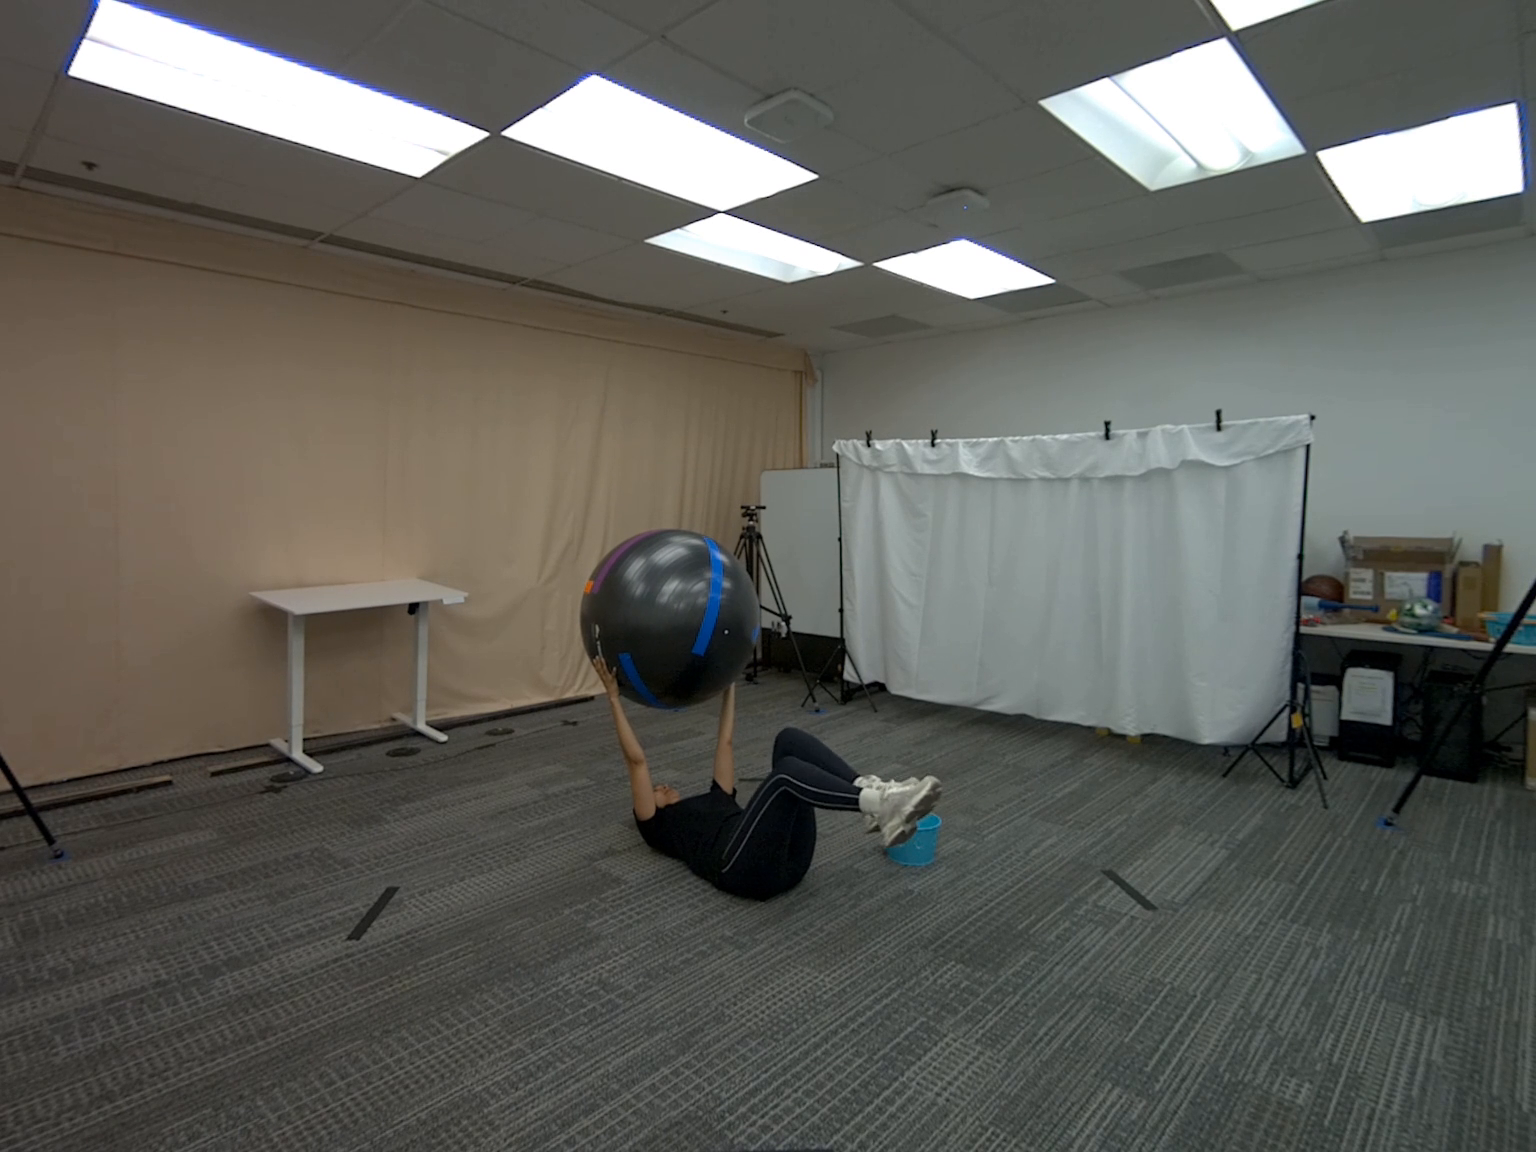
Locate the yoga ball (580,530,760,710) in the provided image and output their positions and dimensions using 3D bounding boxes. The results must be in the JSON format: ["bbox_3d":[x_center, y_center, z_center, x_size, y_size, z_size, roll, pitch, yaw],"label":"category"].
[{"bbox_3d":[-0.412,0.182,3.561,0.757,0.756,0.761,3,5,-2],"label":"yoga ball"}]
